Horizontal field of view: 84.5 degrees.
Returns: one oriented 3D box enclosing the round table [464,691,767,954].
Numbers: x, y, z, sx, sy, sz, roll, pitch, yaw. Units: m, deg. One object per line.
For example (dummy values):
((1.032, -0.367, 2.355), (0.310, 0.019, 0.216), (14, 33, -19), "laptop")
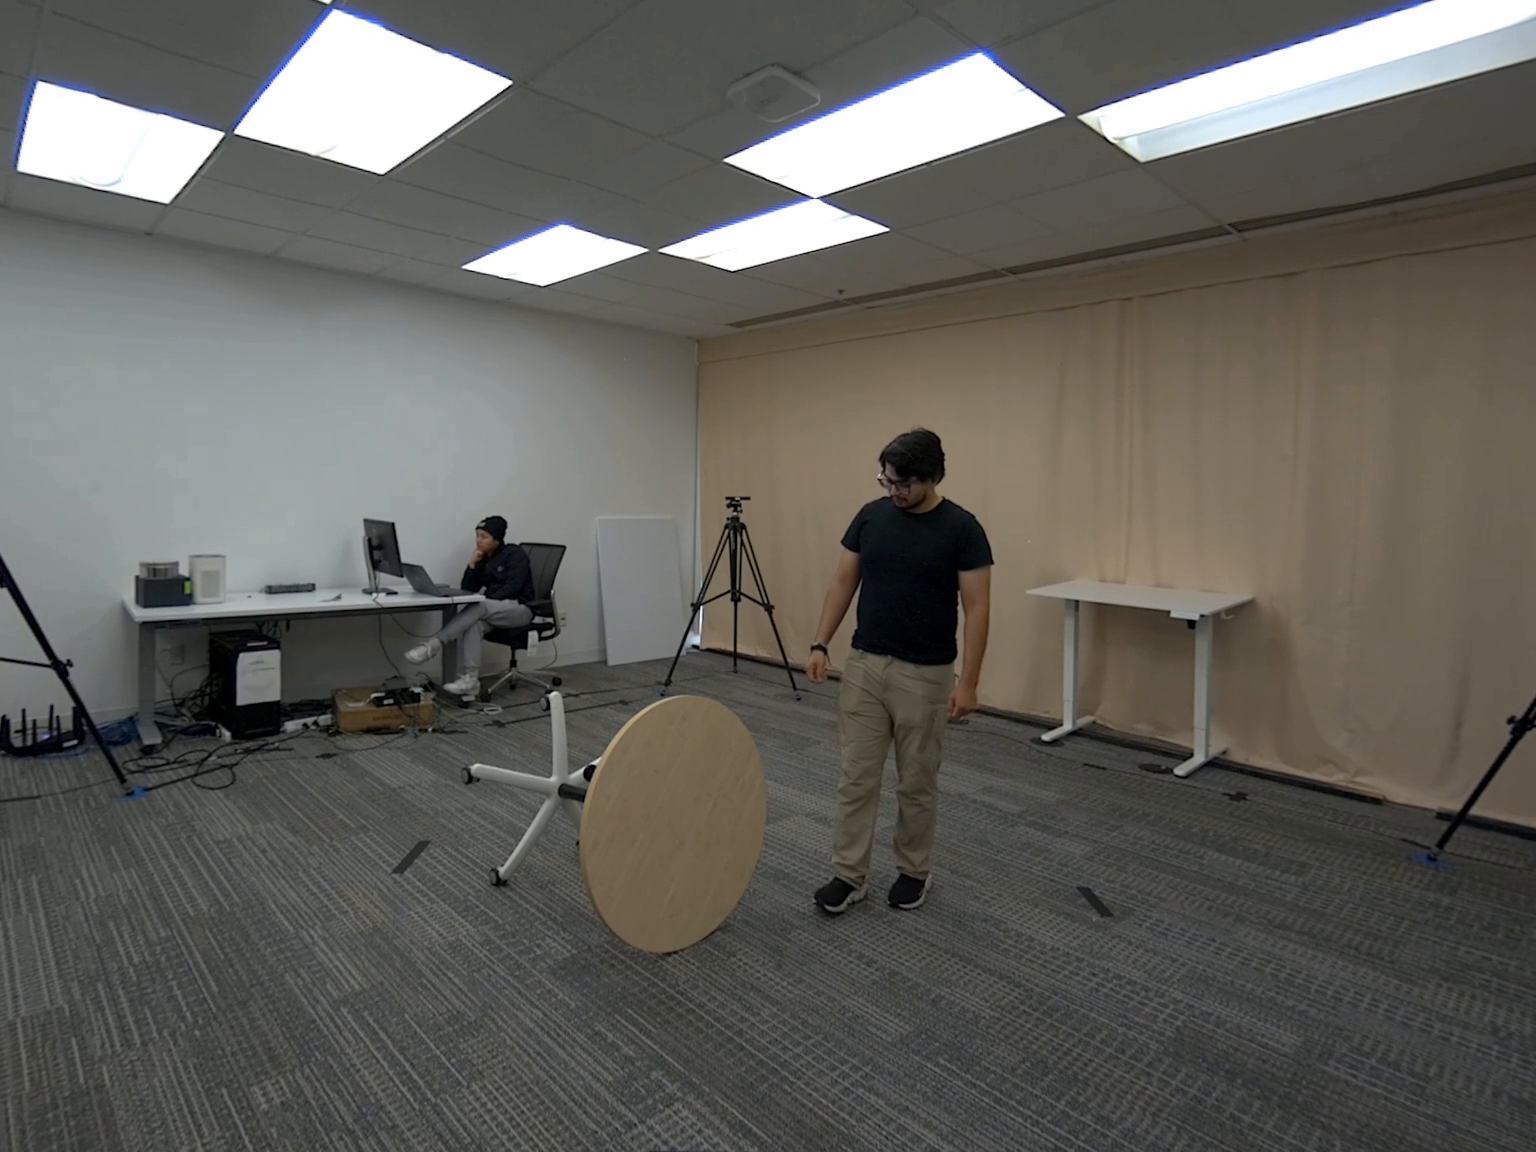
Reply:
((-0.561, 0.786, 2.902), (0.803, 0.786, 0.767), (-5, -1, 43), "round table")
